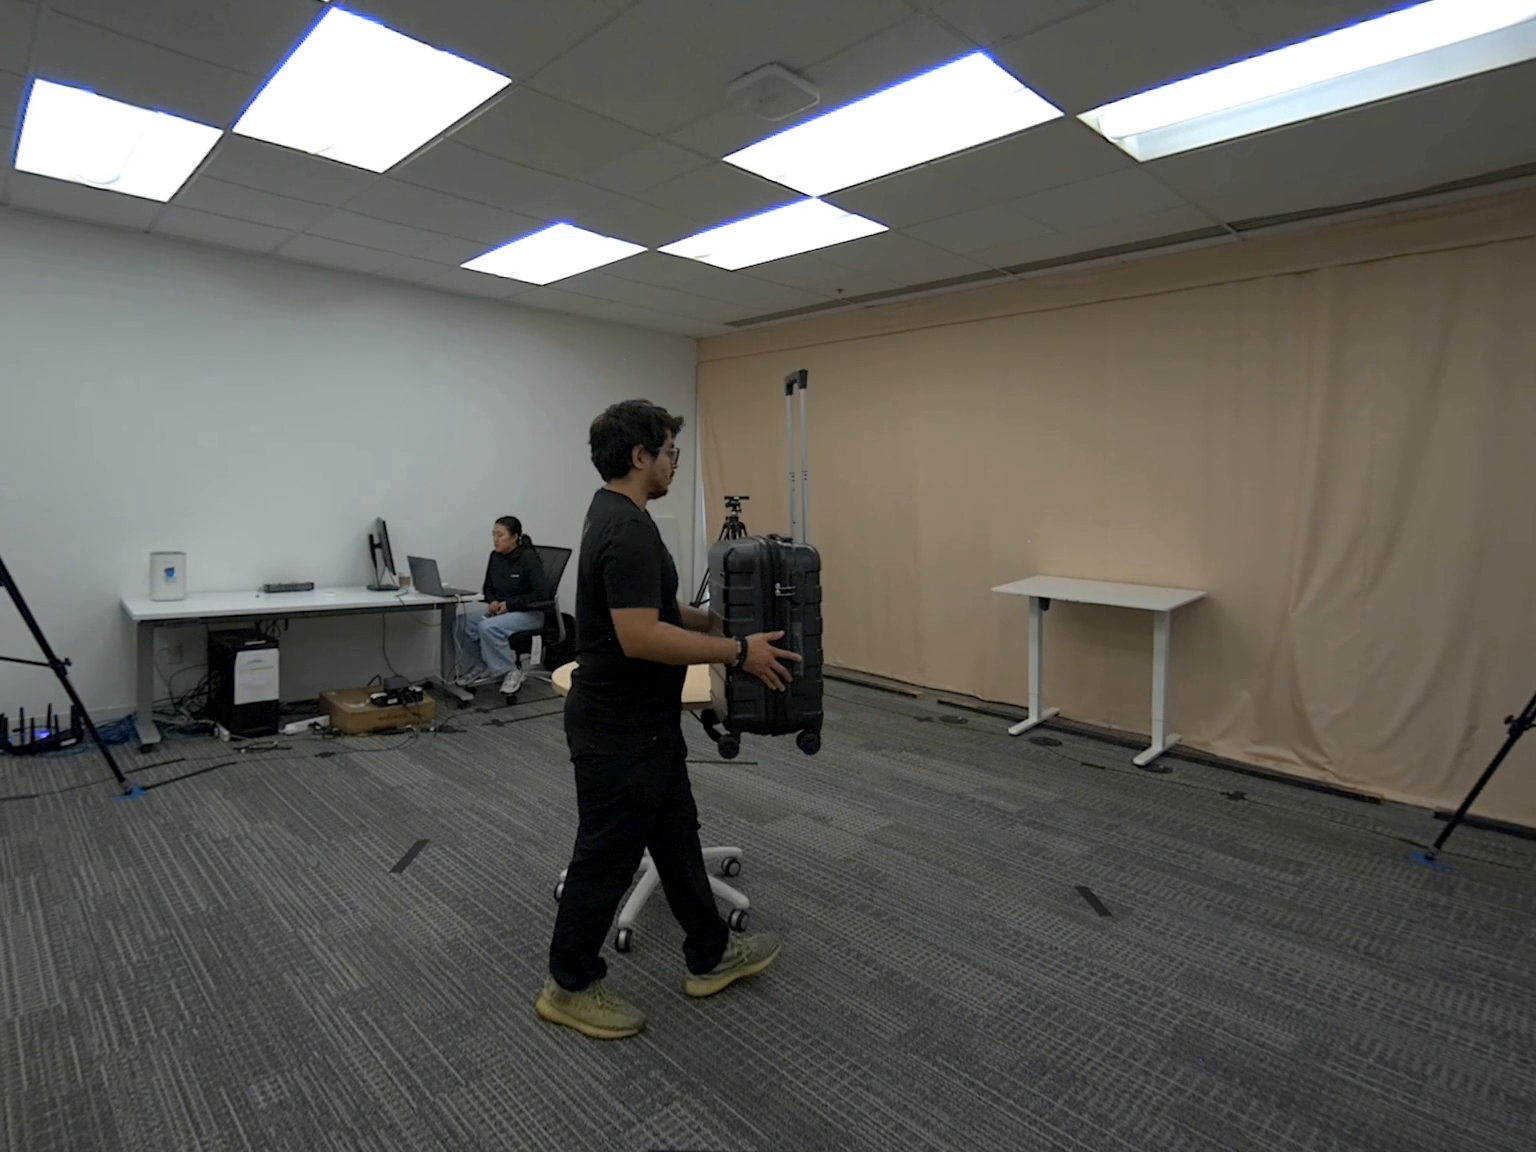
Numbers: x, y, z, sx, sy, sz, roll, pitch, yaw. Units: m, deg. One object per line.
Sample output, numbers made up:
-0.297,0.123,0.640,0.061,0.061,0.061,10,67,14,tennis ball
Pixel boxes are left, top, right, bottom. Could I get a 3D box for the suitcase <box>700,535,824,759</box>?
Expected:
-0.023,-0.043,2.248,0.256,0.977,0.387,-1,3,-8,suitcase
